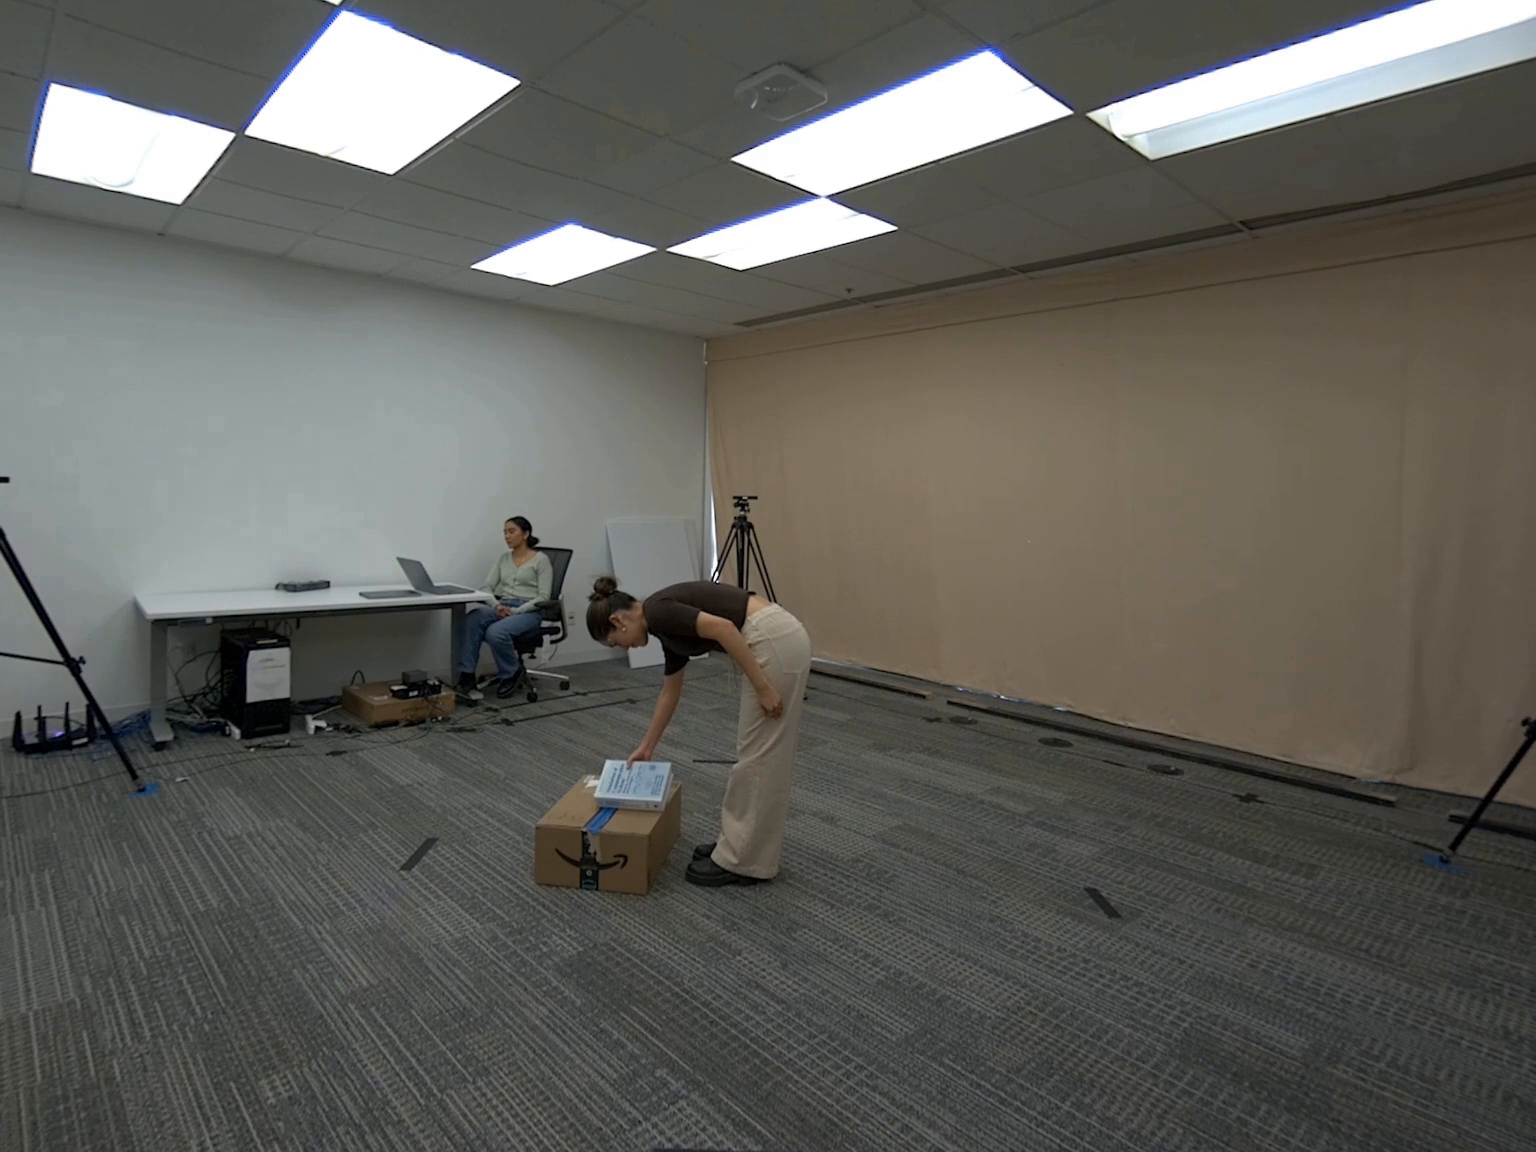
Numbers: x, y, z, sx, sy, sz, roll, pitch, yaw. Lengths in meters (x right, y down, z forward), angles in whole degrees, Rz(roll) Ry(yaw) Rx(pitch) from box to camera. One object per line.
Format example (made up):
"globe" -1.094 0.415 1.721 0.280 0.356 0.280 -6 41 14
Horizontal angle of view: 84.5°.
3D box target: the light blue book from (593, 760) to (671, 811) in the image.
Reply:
"light blue book" -0.512 0.802 3.217 0.263 0.058 0.194 1 34 8
